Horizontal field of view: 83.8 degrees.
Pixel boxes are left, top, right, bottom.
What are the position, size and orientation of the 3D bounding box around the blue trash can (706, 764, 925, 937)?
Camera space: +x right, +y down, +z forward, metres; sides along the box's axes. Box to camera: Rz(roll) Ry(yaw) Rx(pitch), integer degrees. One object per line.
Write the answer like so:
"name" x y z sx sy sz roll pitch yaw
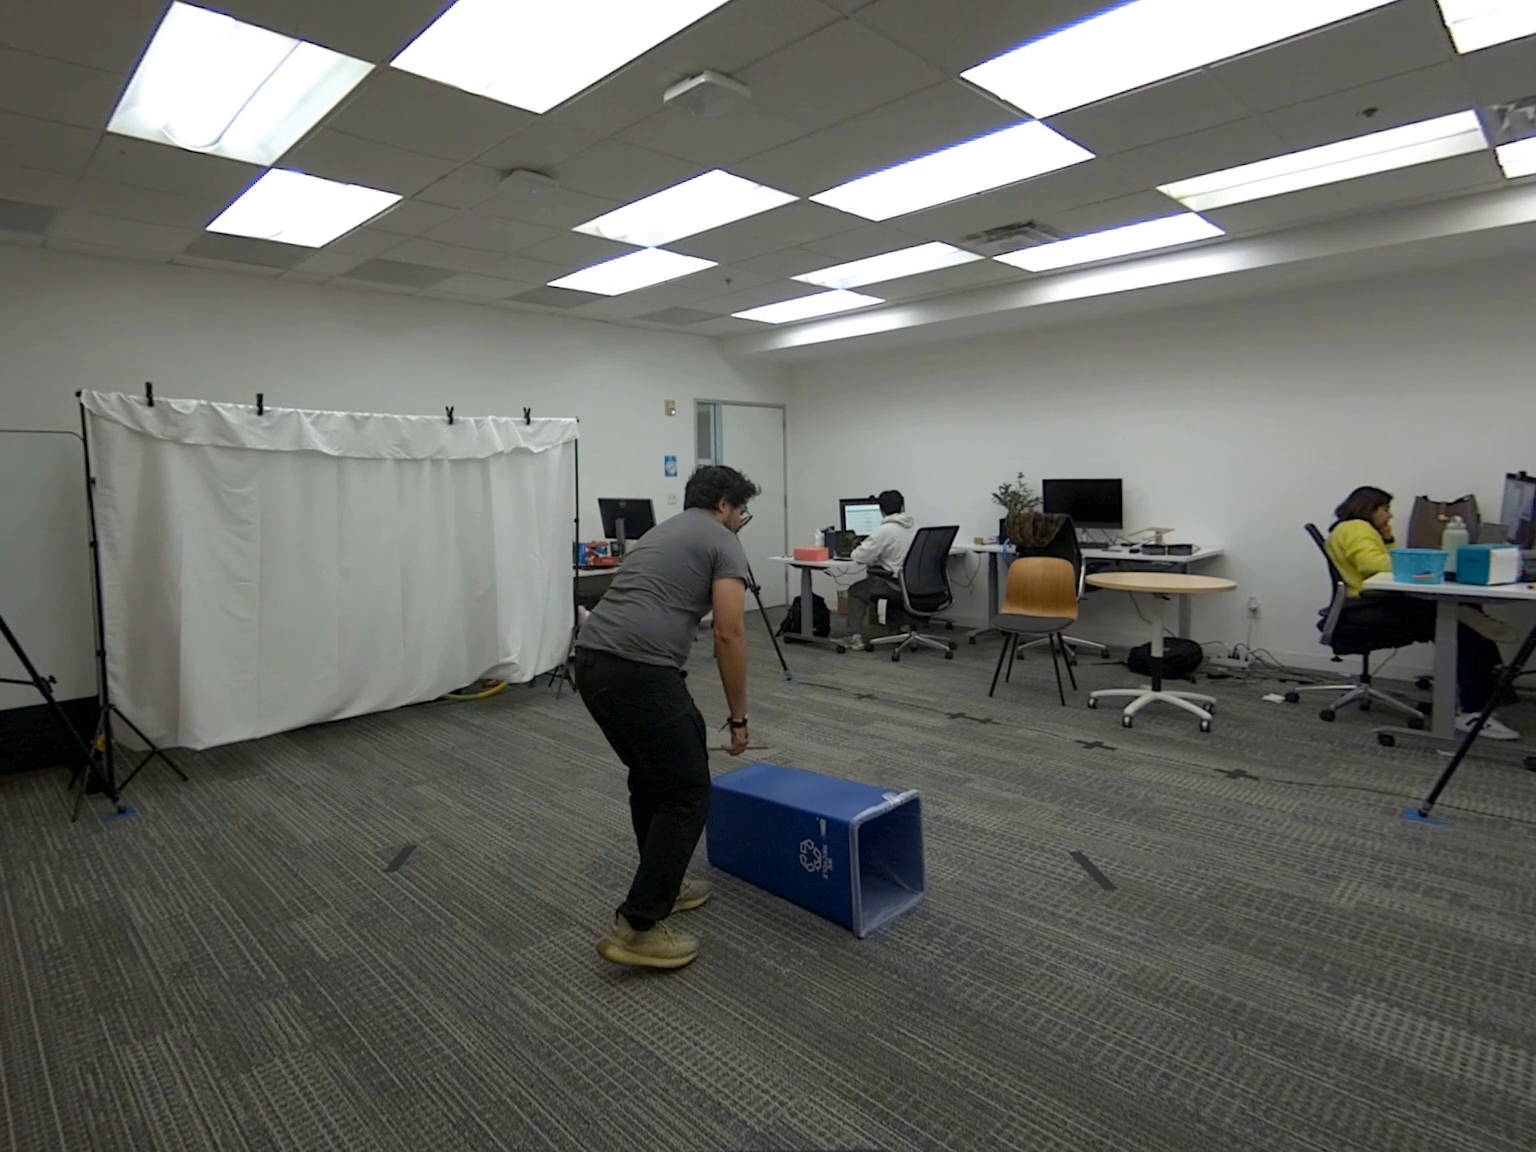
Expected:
"blue trash can" 0.142 0.886 2.953 0.364 0.377 0.735 -7 7 -44
